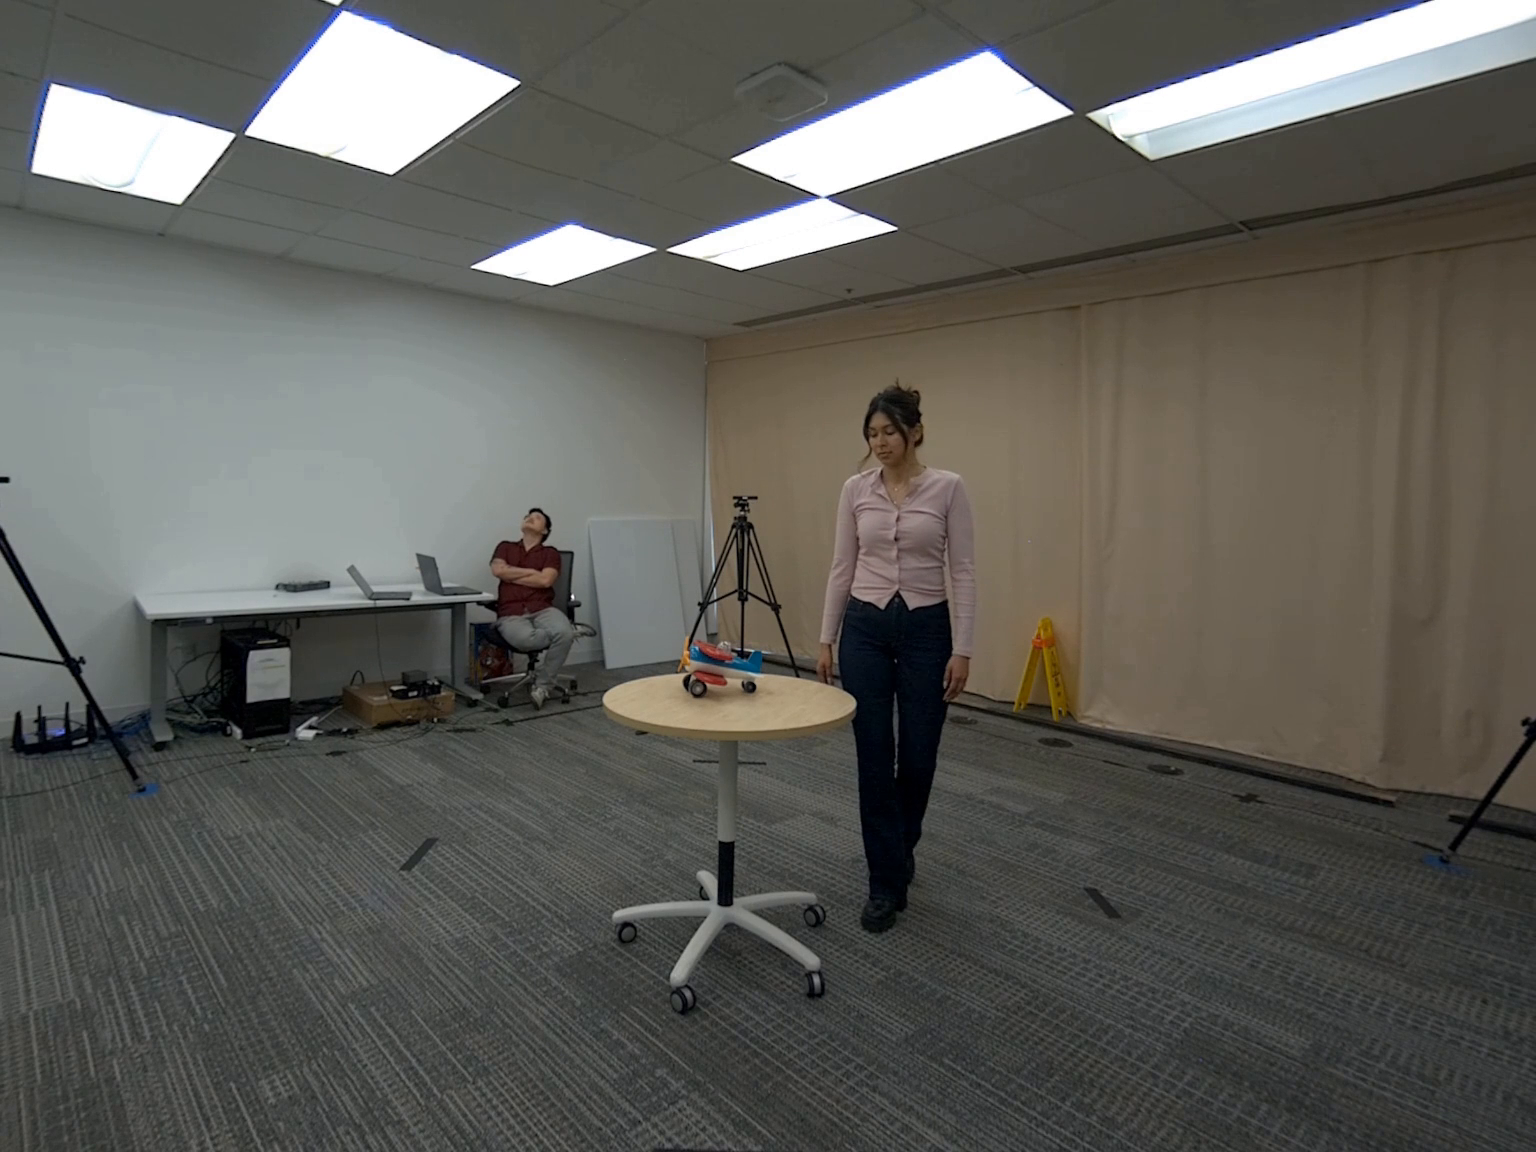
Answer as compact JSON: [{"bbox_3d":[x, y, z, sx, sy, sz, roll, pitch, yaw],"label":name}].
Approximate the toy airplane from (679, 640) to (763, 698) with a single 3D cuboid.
[{"bbox_3d":[-0.153,0.288,2.629,0.253,0.156,0.257,-4,6,-45],"label":"toy airplane"}]
